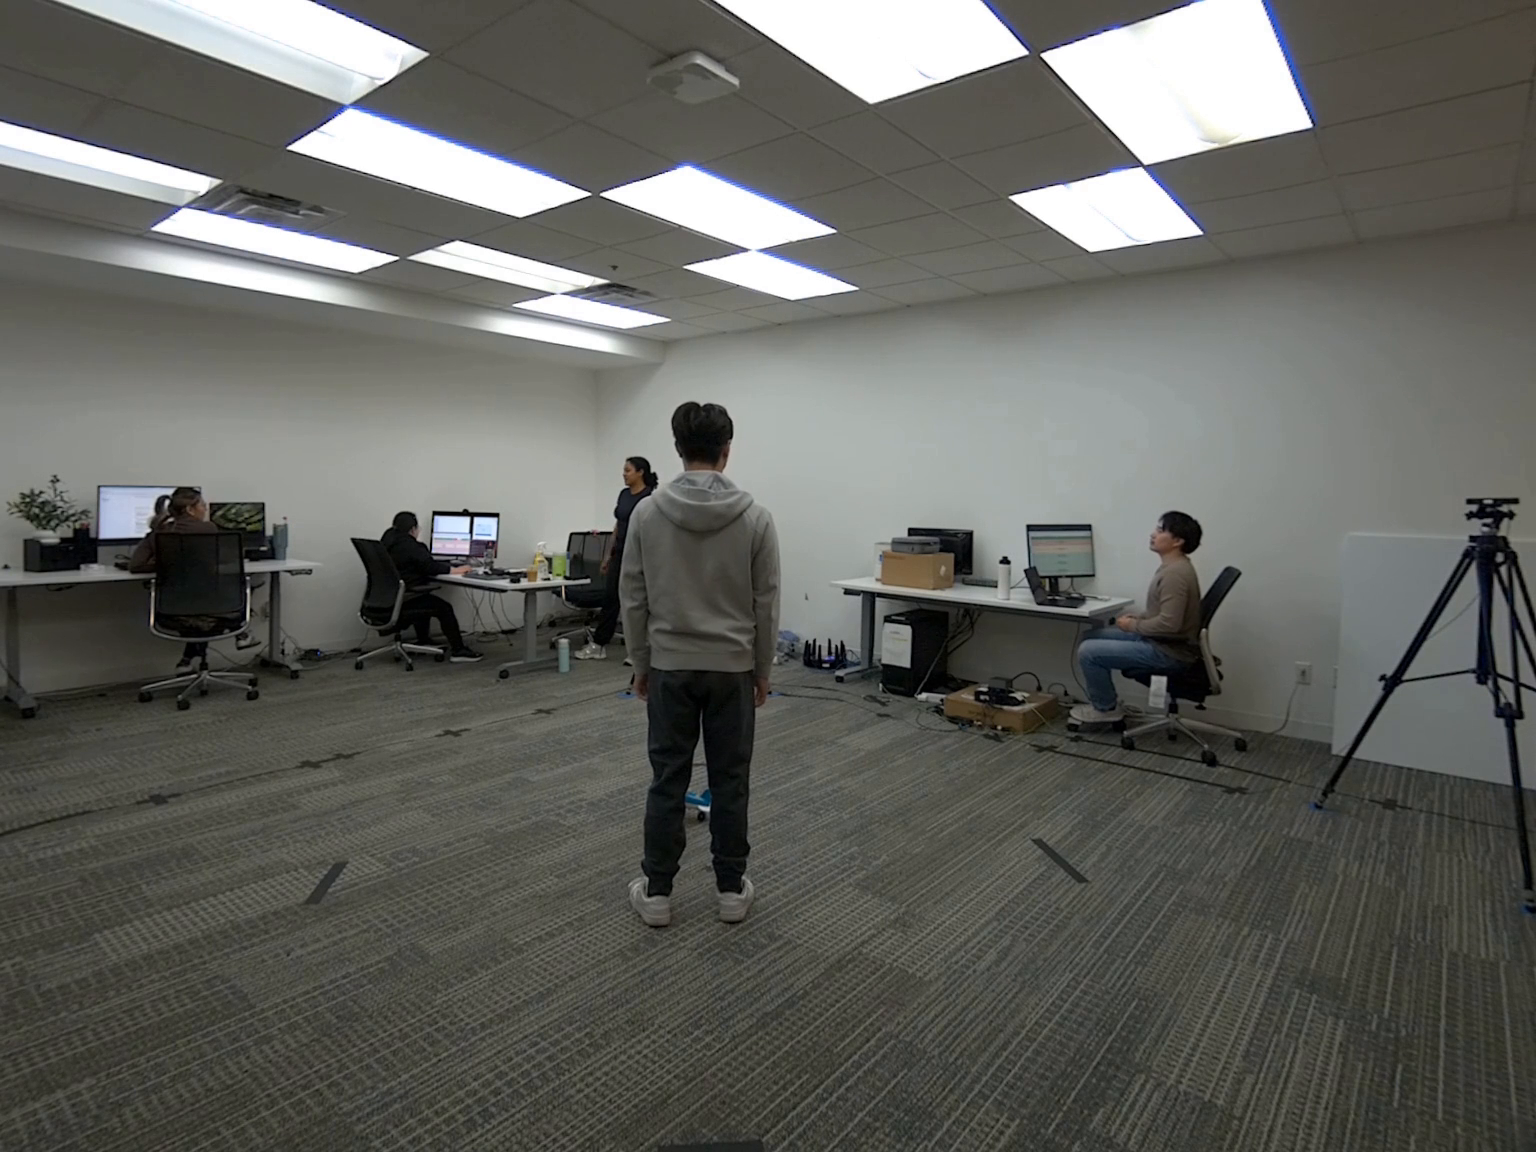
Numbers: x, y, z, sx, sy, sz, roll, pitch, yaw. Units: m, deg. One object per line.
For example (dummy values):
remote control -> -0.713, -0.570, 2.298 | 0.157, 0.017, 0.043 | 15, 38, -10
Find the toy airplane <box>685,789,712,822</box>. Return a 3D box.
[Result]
toy airplane -> -0.381, 0.939, 3.594 | 0.252, 0.156, 0.259 | -2, 6, -30
